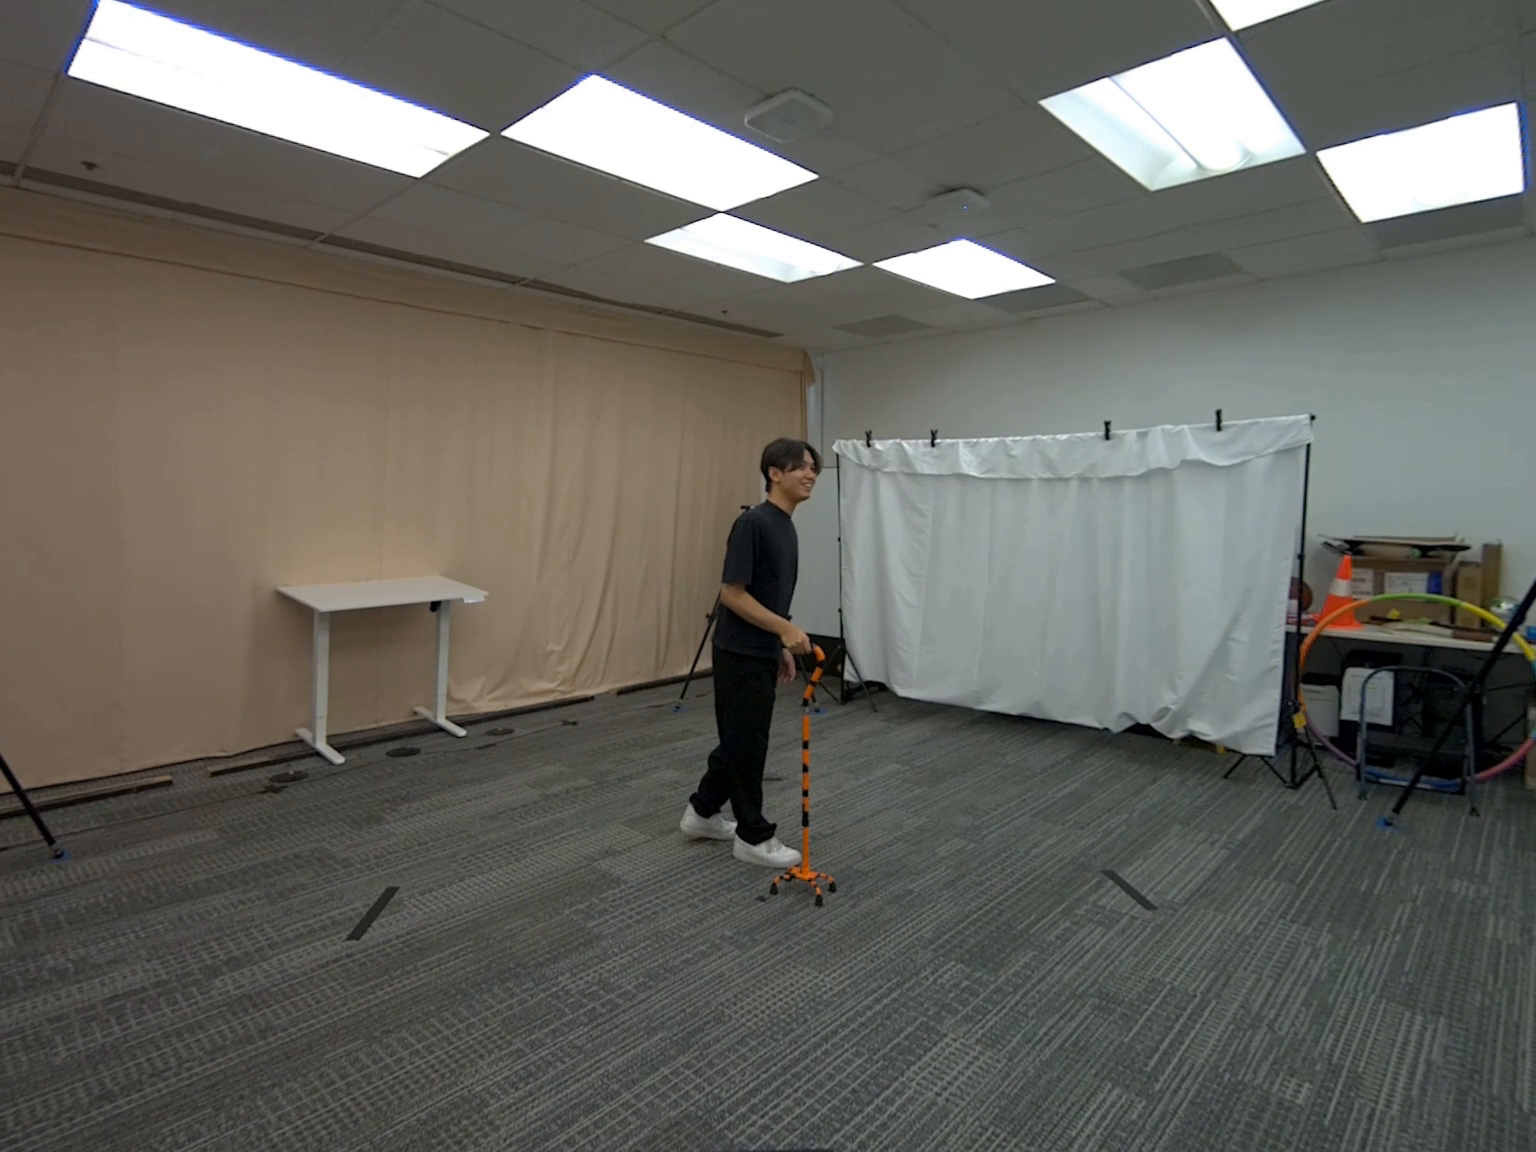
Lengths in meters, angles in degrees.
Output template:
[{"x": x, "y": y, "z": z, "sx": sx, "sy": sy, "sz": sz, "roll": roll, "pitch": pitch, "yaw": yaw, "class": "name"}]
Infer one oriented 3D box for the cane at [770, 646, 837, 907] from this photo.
[{"x": 0.135, "y": 0.693, "z": 3.005, "sx": 0.212, "sy": 0.906, "sz": 0.148, "roll": 2, "pitch": 4, "yaw": 26, "class": "cane"}]
